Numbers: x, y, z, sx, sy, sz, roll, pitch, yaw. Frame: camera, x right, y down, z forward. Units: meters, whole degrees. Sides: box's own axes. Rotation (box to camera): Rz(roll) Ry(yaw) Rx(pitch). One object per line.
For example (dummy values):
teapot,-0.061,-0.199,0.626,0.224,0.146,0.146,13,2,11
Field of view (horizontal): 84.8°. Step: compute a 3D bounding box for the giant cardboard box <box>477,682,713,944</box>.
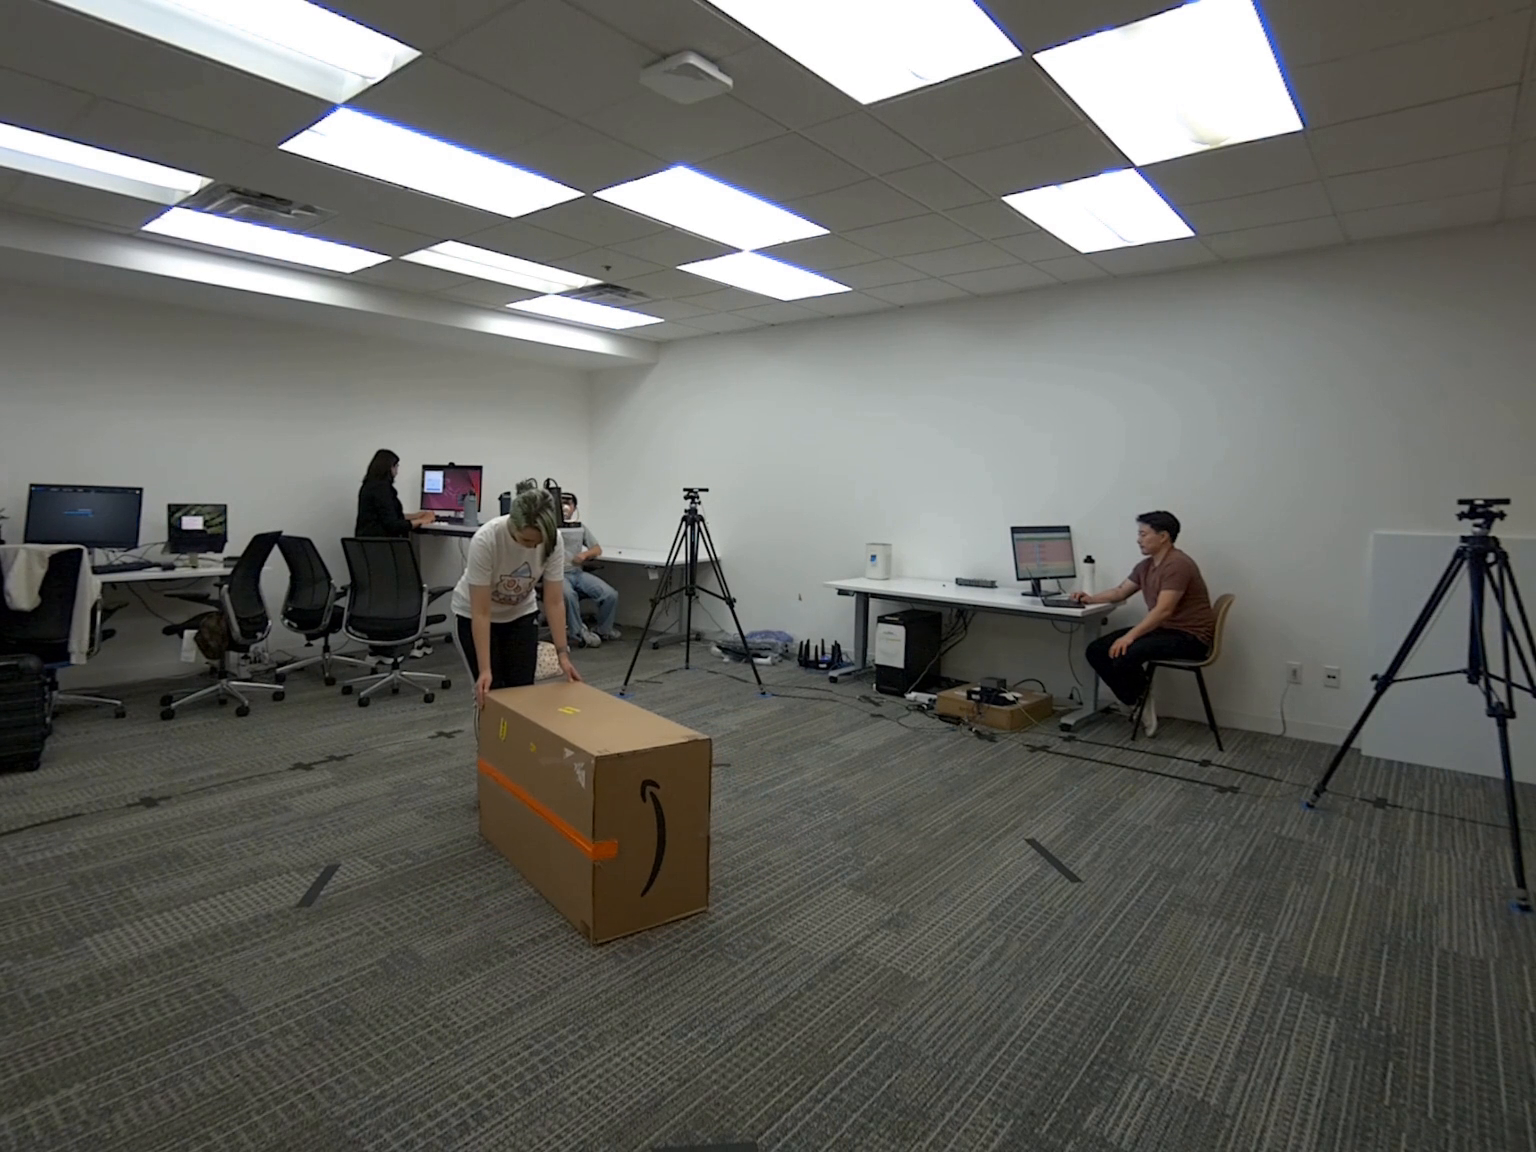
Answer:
giant cardboard box,-0.679,0.776,3.081,0.434,0.582,1.061,-3,5,-37
